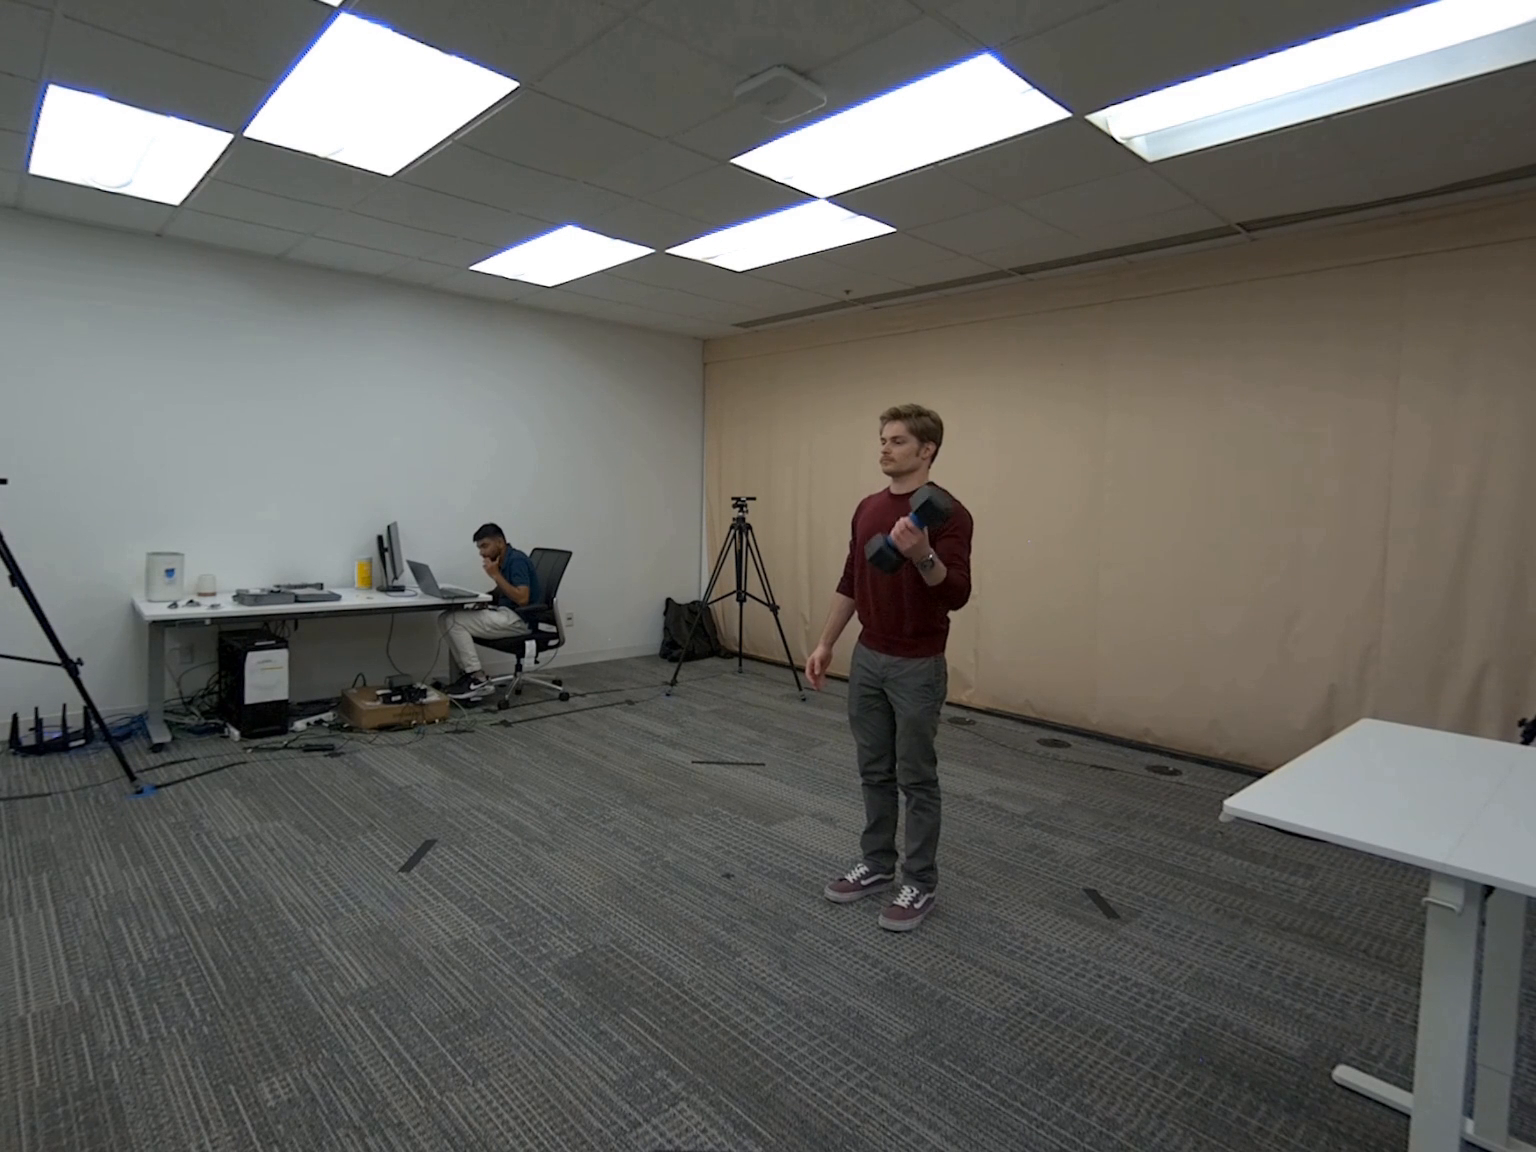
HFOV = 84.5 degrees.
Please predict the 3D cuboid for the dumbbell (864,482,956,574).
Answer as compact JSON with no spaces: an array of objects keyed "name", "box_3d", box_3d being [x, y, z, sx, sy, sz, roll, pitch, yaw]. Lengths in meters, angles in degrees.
[{"name":"dumbbell","box_3d":[0.411,-0.119,2.494,0.120,0.111,0.293,-2,-38,-48]}]
